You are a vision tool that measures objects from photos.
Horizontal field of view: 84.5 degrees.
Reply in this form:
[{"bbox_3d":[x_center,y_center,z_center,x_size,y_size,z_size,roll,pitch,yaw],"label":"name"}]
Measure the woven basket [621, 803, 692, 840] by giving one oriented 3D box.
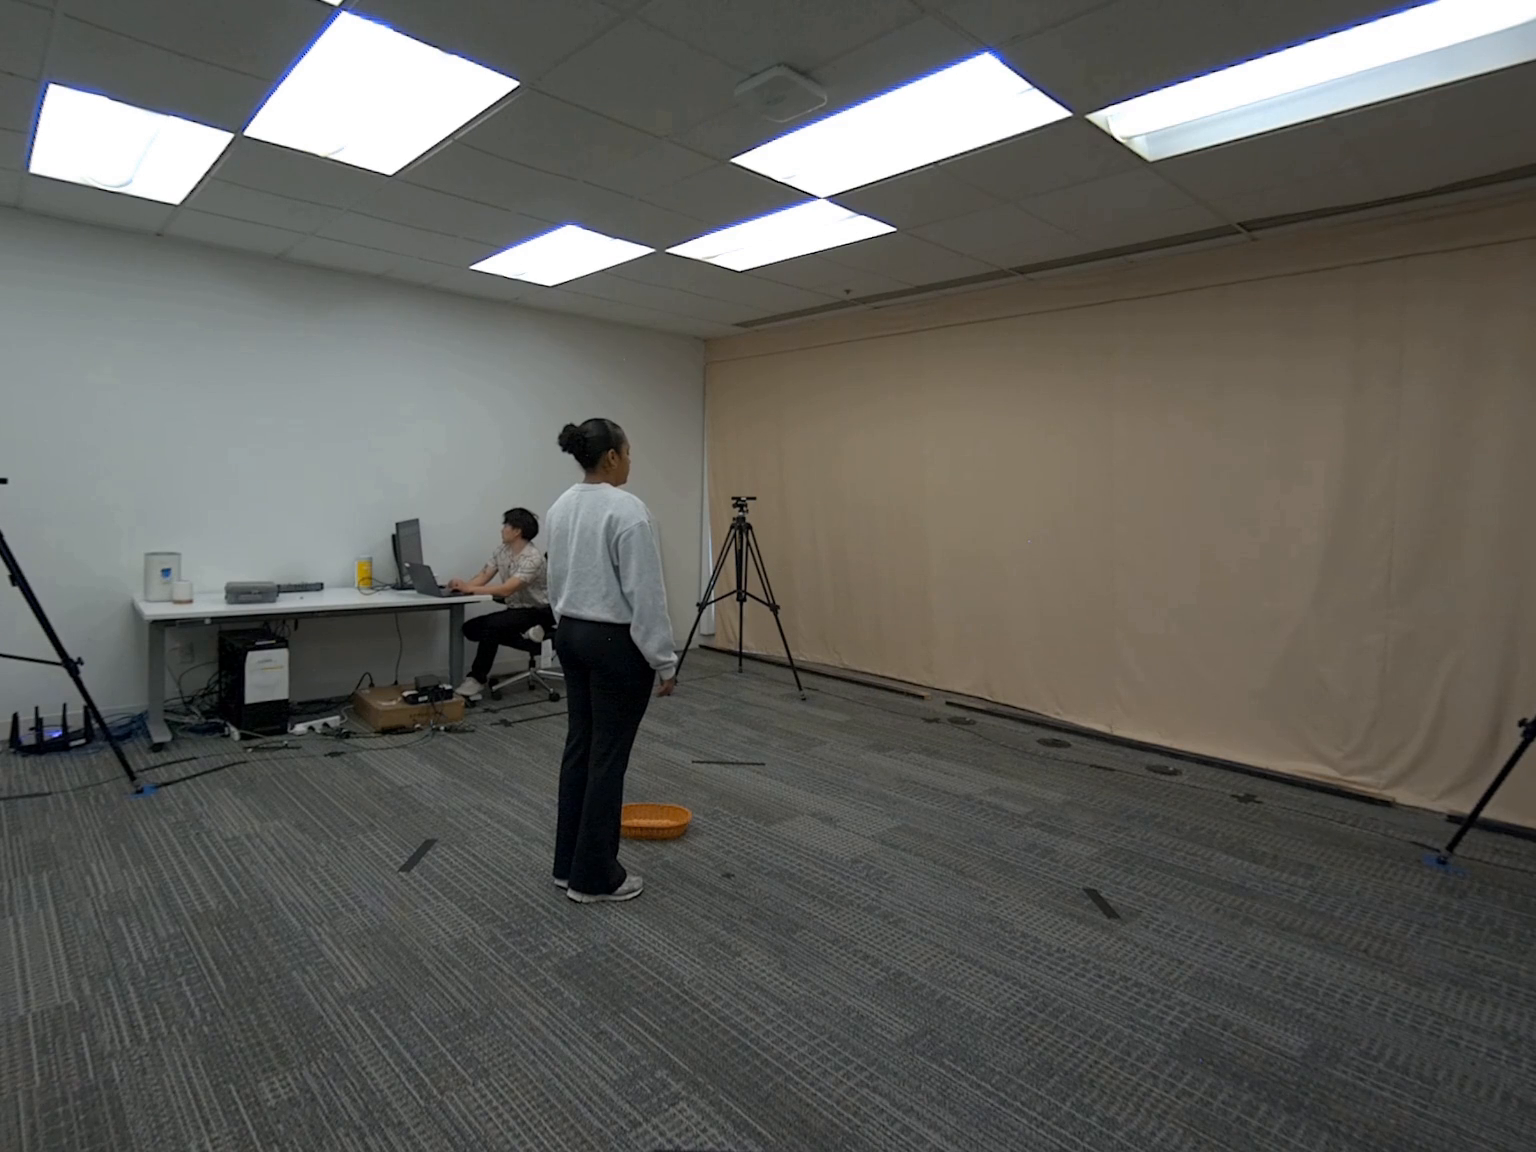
[{"bbox_3d":[-0.492,1.022,3.504,0.351,0.073,0.253,2,6,2],"label":"woven basket"}]
